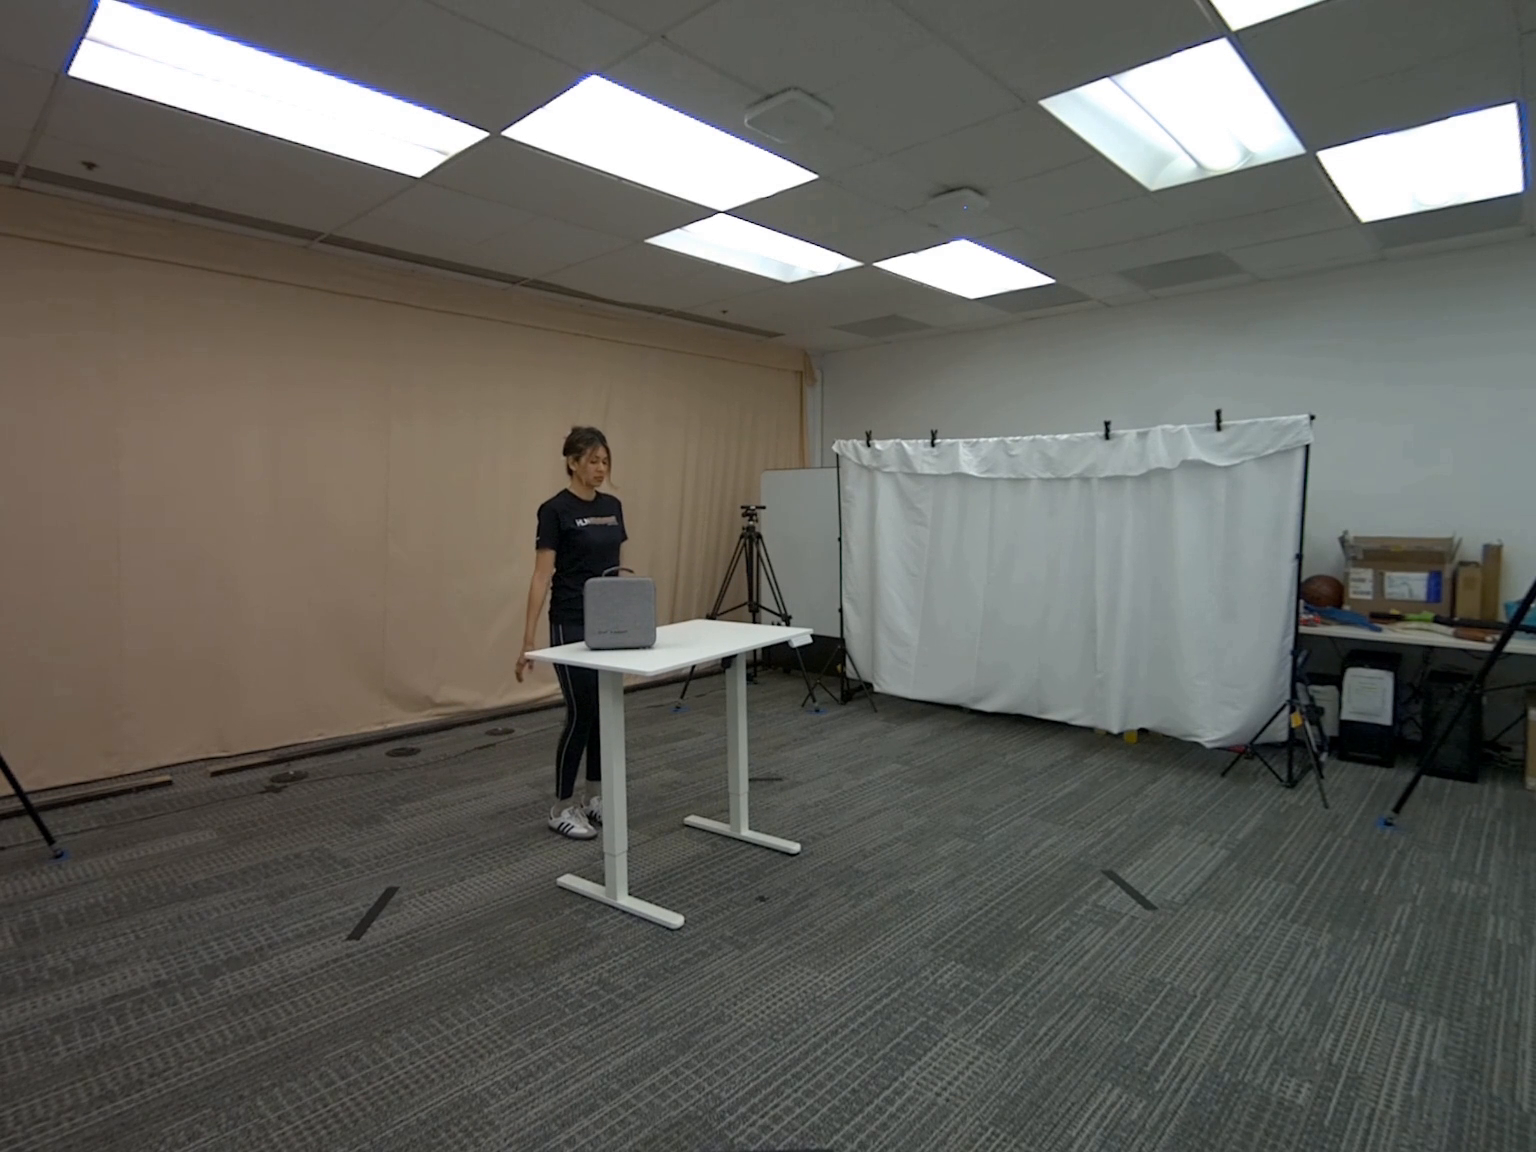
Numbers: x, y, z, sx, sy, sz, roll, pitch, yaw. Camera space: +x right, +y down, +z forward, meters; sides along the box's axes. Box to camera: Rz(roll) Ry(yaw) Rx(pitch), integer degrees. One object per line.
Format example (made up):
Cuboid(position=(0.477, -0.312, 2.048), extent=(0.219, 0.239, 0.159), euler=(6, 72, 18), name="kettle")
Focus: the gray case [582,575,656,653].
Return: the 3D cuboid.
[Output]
Cuboid(position=(-0.539, 0.134, 3.040), extent=(0.255, 0.262, 0.104), euler=(-2, -8, -7), name="gray case")
